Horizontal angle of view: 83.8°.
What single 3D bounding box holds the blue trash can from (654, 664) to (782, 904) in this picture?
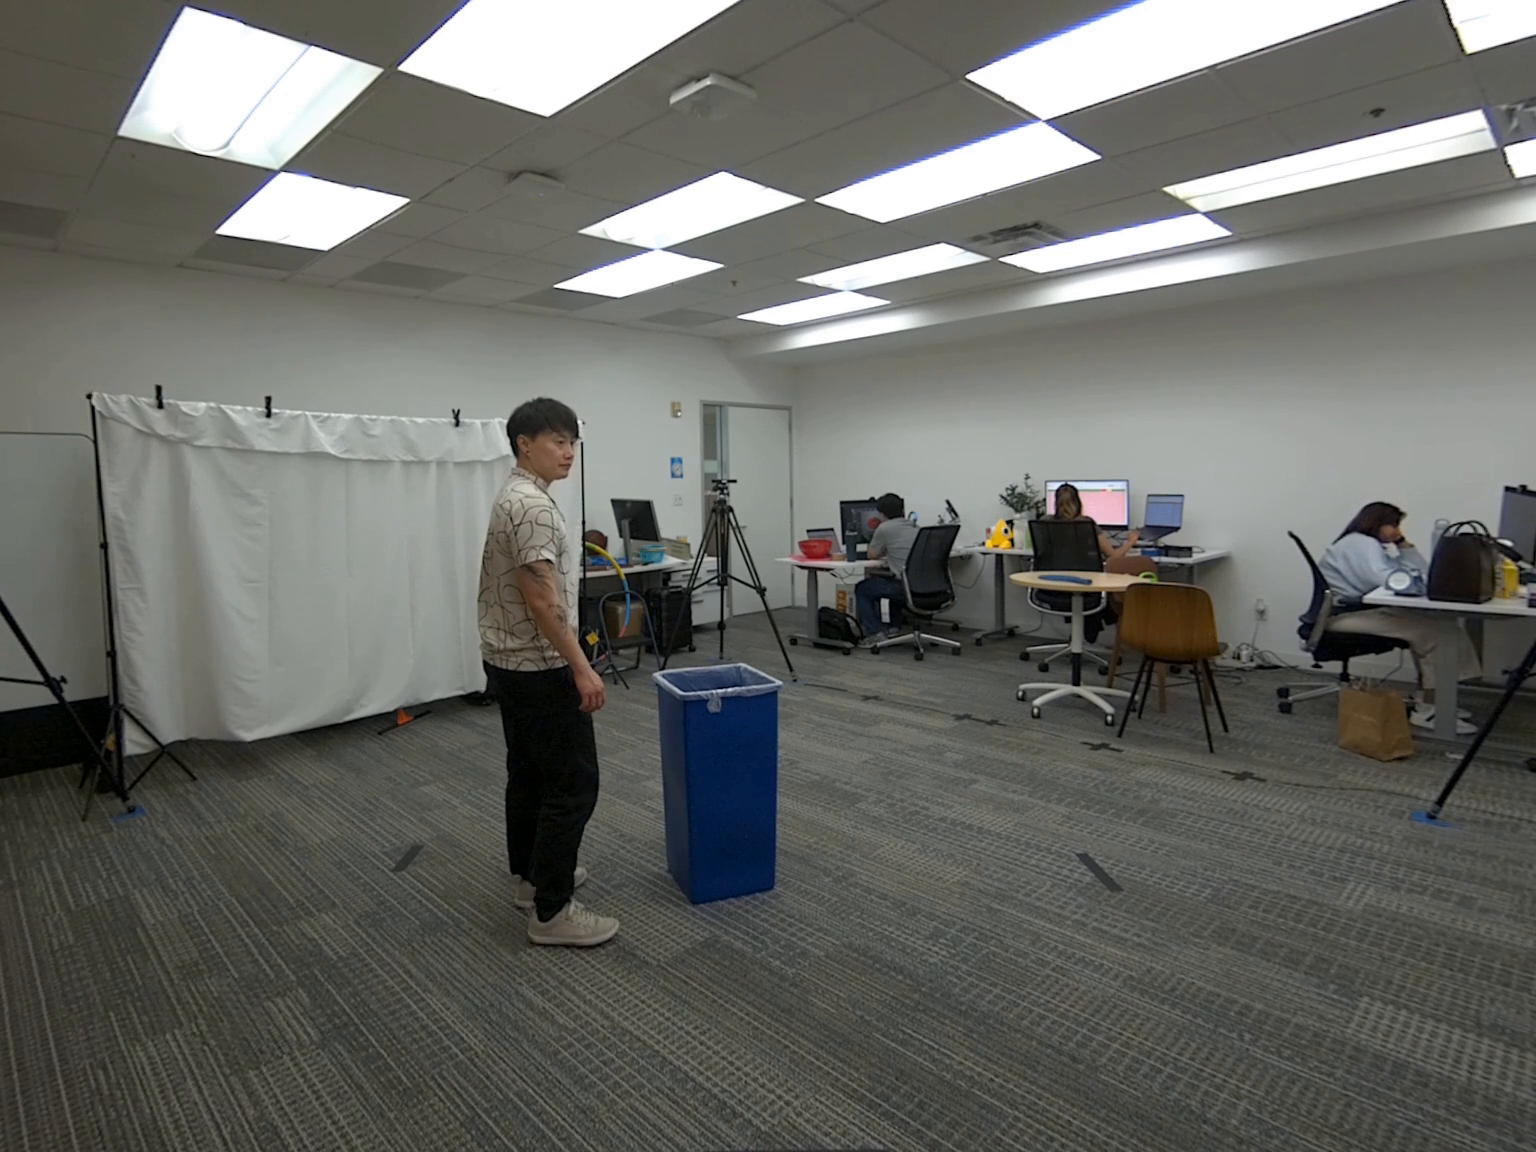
[{"bbox_3d":[-0.170,0.706,2.990,0.367,0.711,0.387,-3,4,-23],"label":"blue trash can"}]
